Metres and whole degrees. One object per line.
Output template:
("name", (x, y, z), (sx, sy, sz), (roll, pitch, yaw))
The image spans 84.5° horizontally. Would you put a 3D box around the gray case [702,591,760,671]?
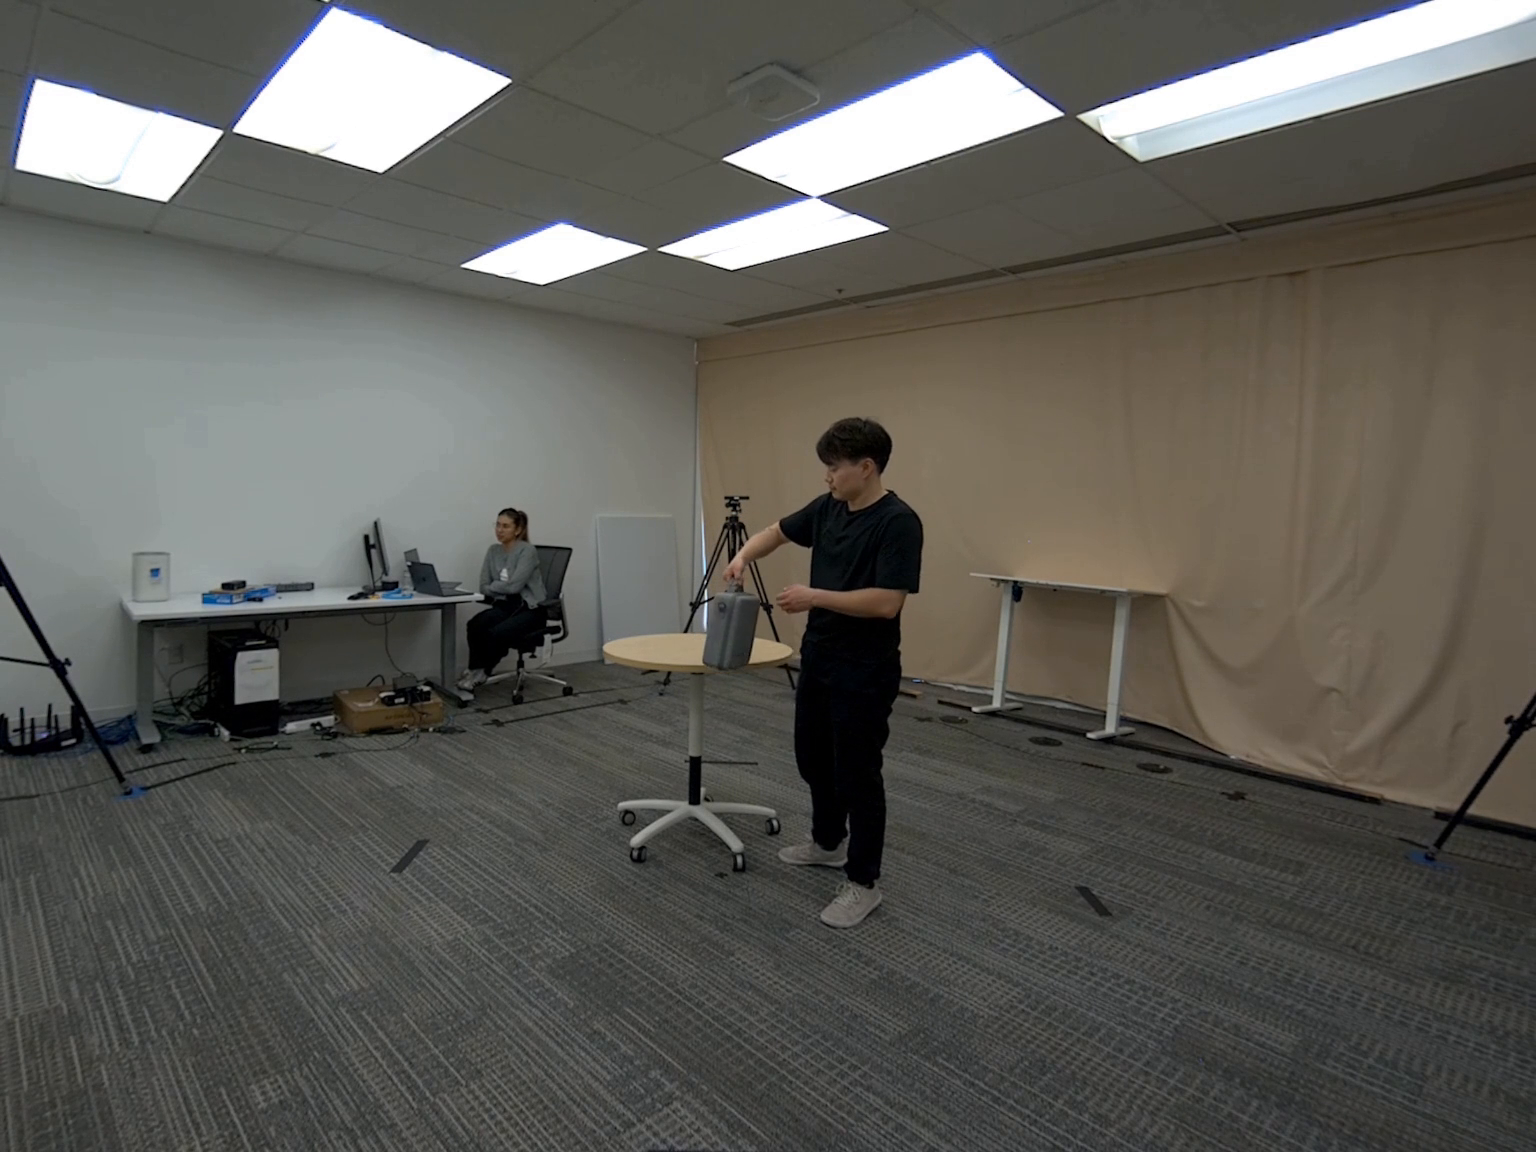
("gray case", (-0.119, 0.179, 2.851), (0.106, 0.261, 0.253), (9, -1, 16))
